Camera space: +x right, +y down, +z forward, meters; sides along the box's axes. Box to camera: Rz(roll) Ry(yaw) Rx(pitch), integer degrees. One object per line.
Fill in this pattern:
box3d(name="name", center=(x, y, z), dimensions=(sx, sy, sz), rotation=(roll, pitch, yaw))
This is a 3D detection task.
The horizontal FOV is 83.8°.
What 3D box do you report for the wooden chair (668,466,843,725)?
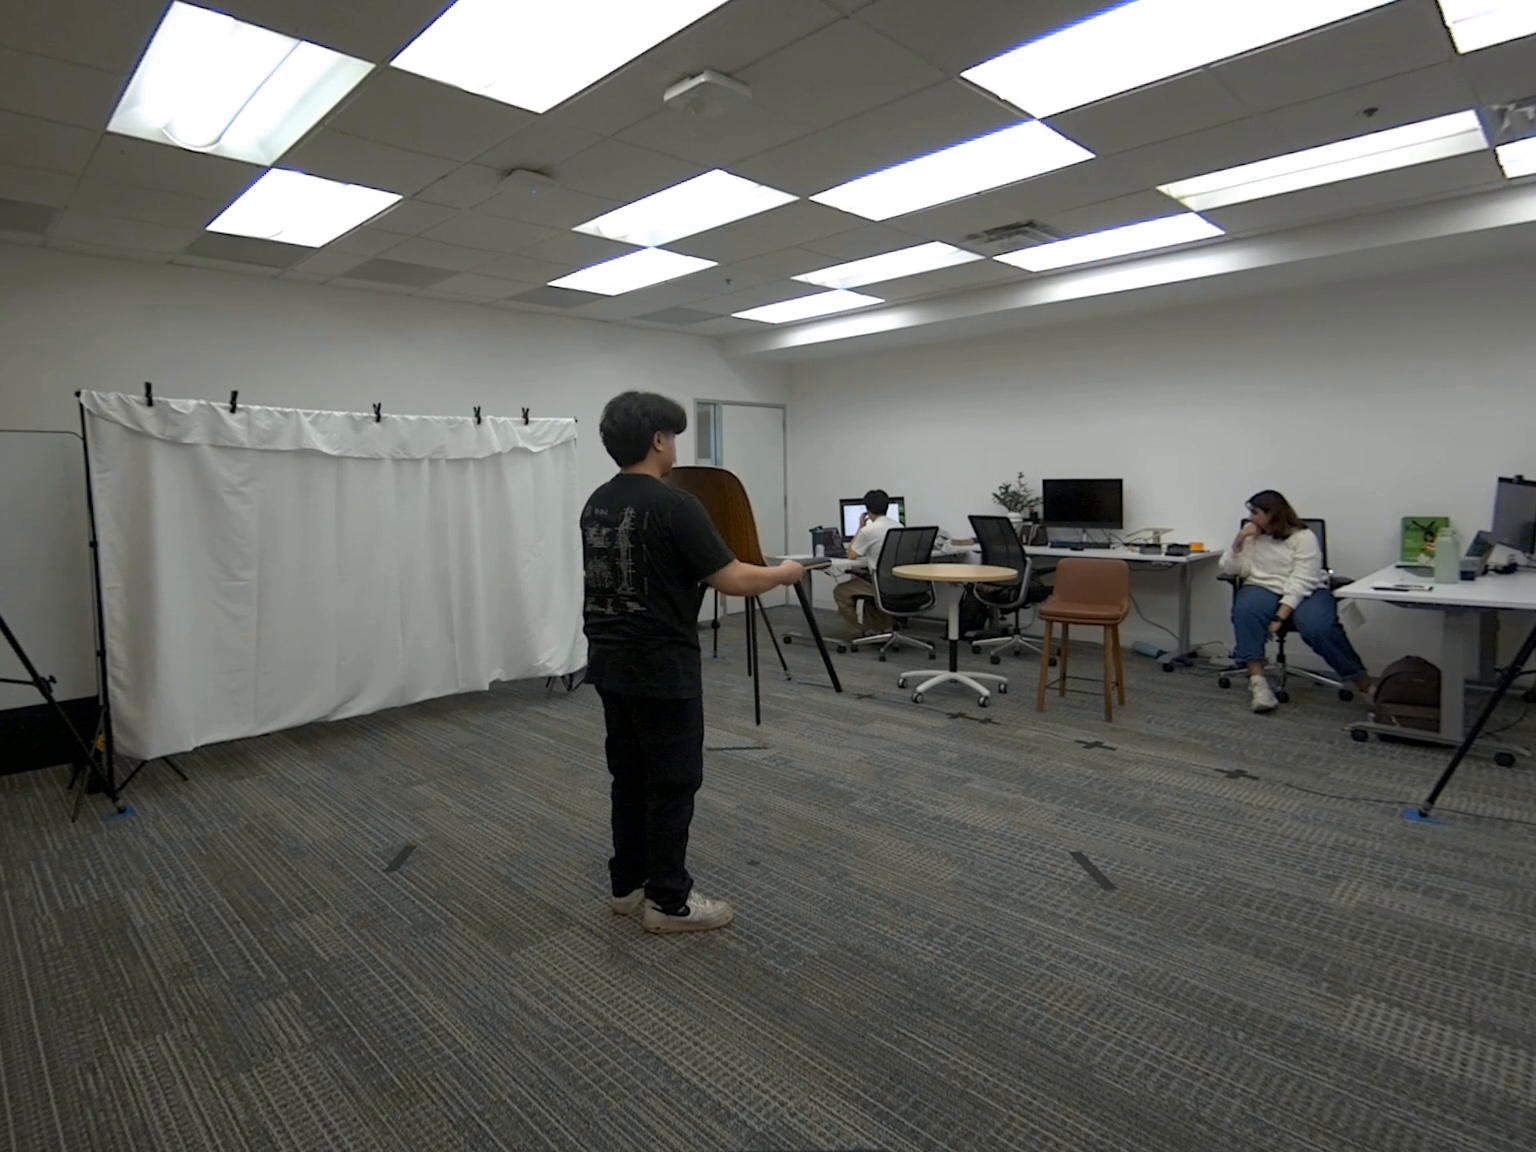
box3d(name="wooden chair", center=(-0.064, 0.032, 3.018), dimensions=(0.492, 0.870, 0.512), rotation=(1, 12, 42))
